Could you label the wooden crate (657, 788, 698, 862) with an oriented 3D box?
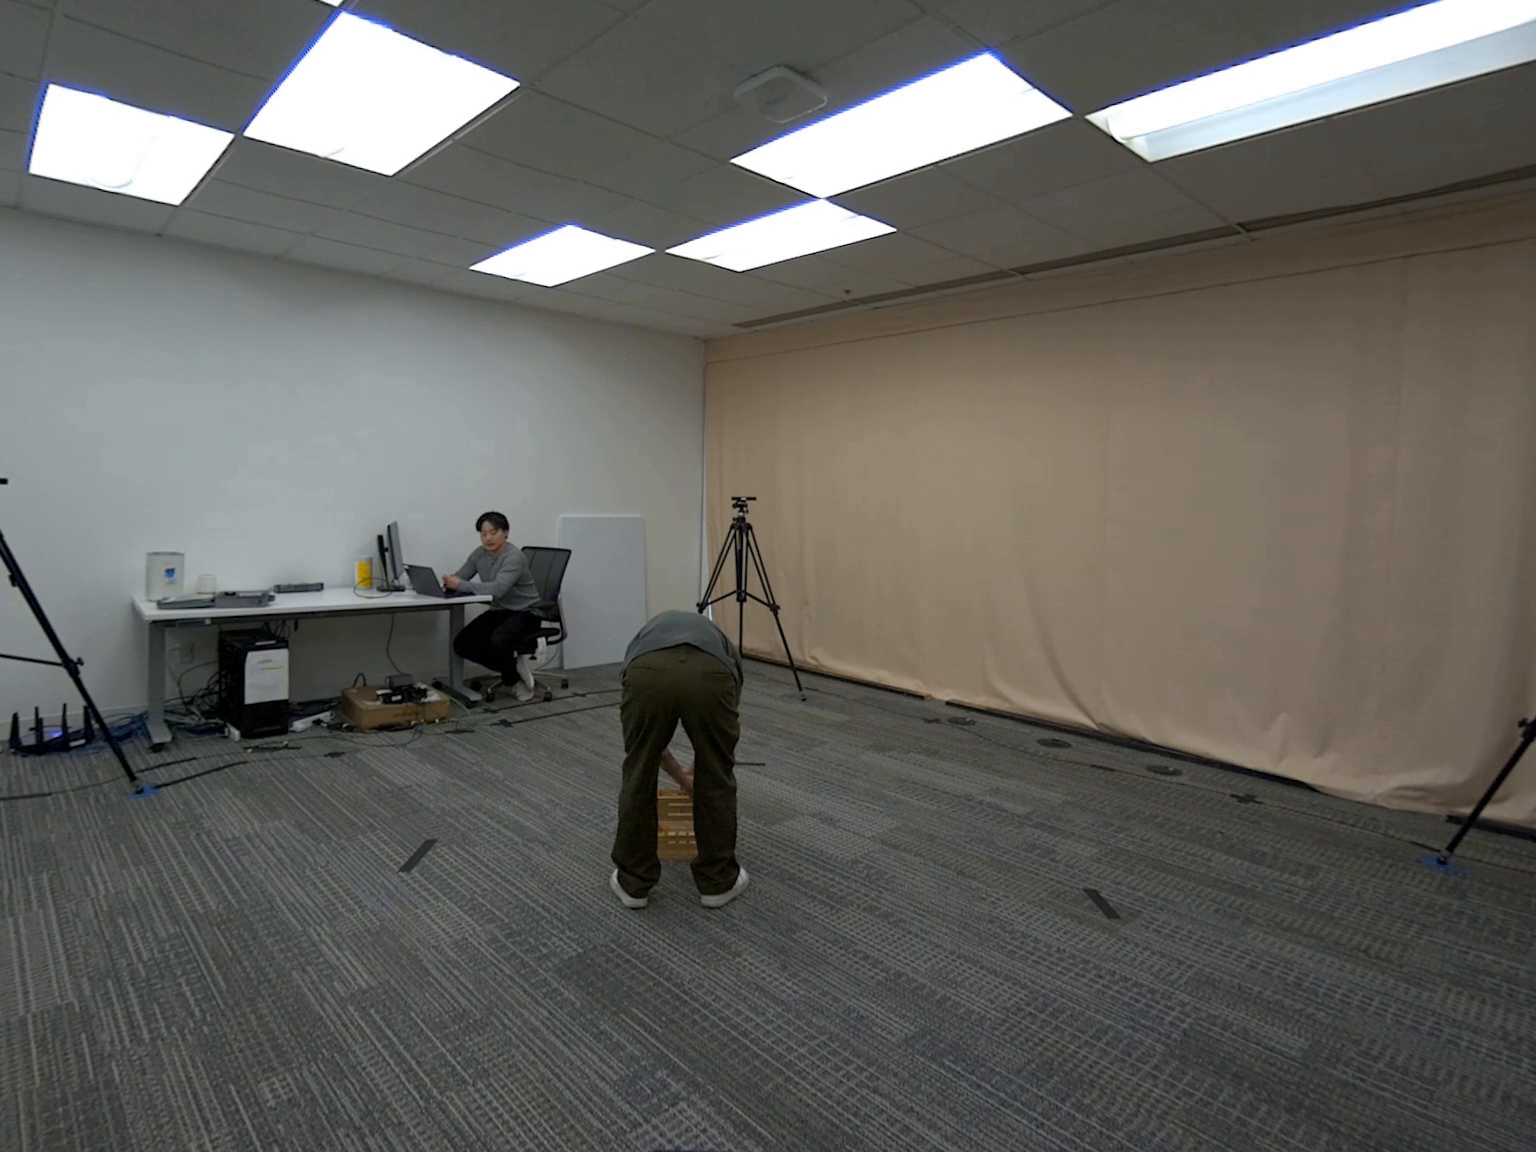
[{"bbox_3d":[-0.296,0.953,3.337,0.323,0.272,0.304,2,4,-6],"label":"wooden crate"}]
